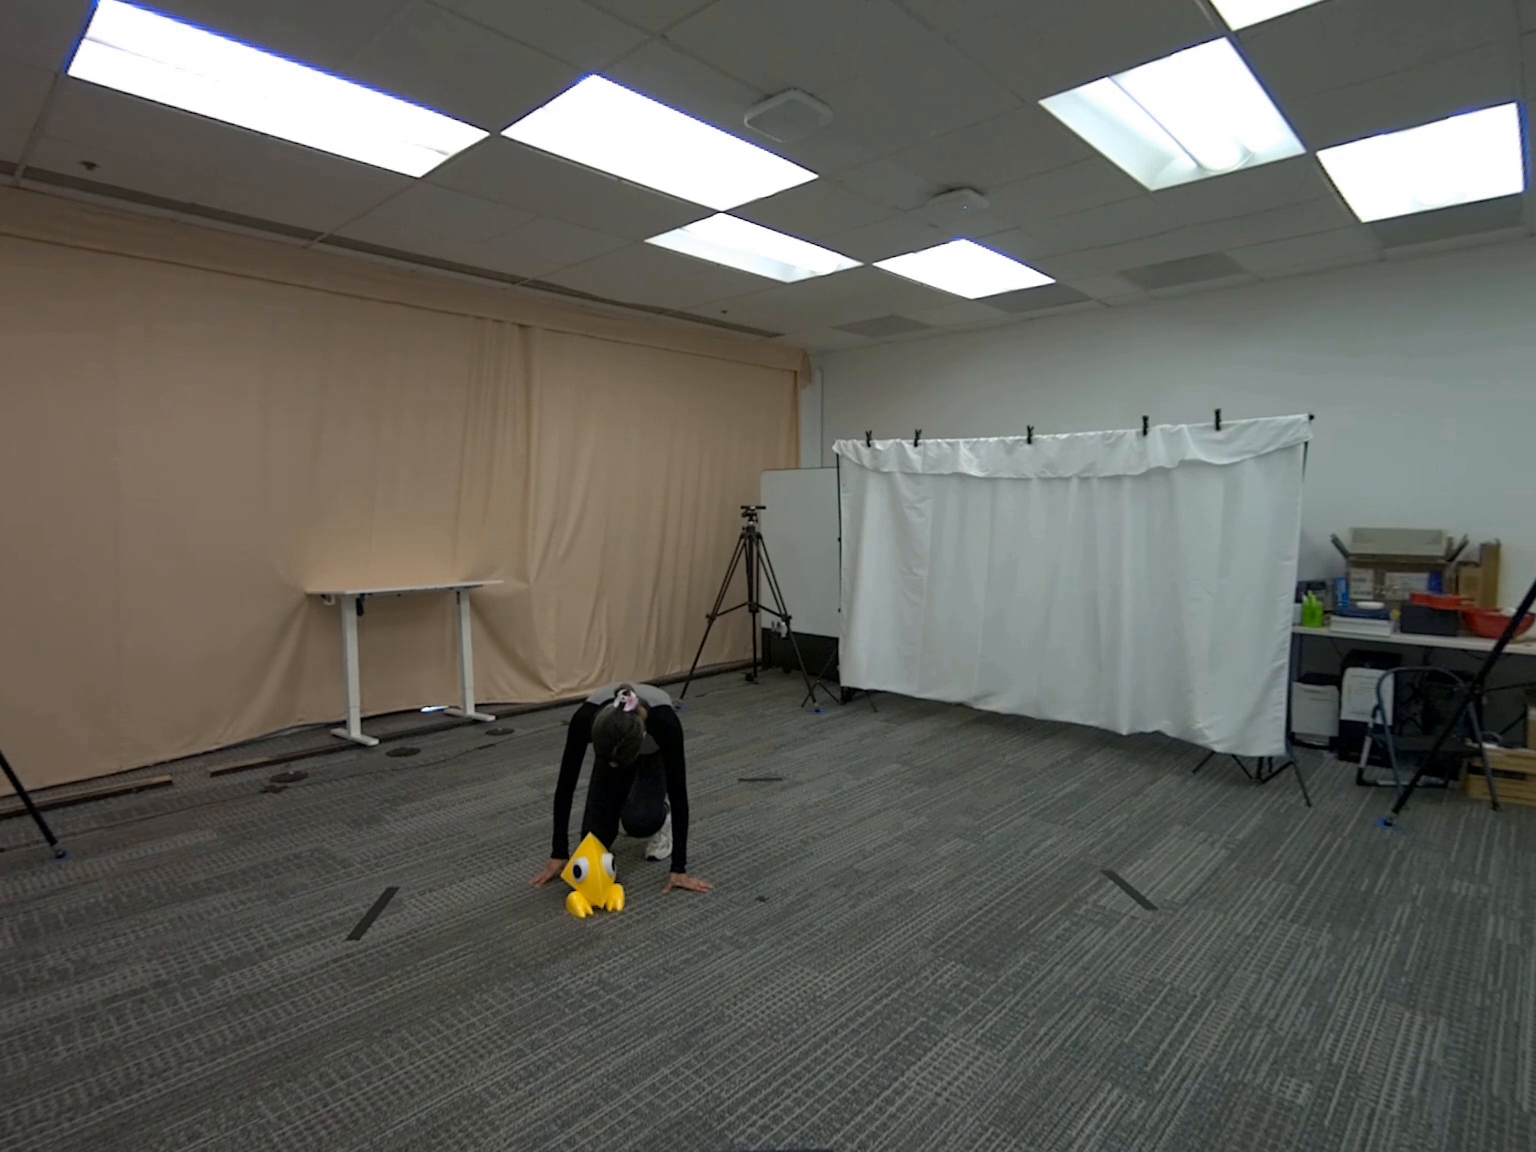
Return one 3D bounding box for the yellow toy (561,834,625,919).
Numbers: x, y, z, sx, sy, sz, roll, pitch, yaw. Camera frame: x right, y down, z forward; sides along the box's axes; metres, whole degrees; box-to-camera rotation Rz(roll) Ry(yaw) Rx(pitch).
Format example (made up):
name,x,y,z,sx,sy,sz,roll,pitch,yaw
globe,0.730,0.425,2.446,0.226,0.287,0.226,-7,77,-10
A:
name,x,y,z,sx,sy,sz,roll,pitch,yaw
yellow toy,-0.608,1.039,2.953,0.200,0.230,0.198,-2,5,-24
